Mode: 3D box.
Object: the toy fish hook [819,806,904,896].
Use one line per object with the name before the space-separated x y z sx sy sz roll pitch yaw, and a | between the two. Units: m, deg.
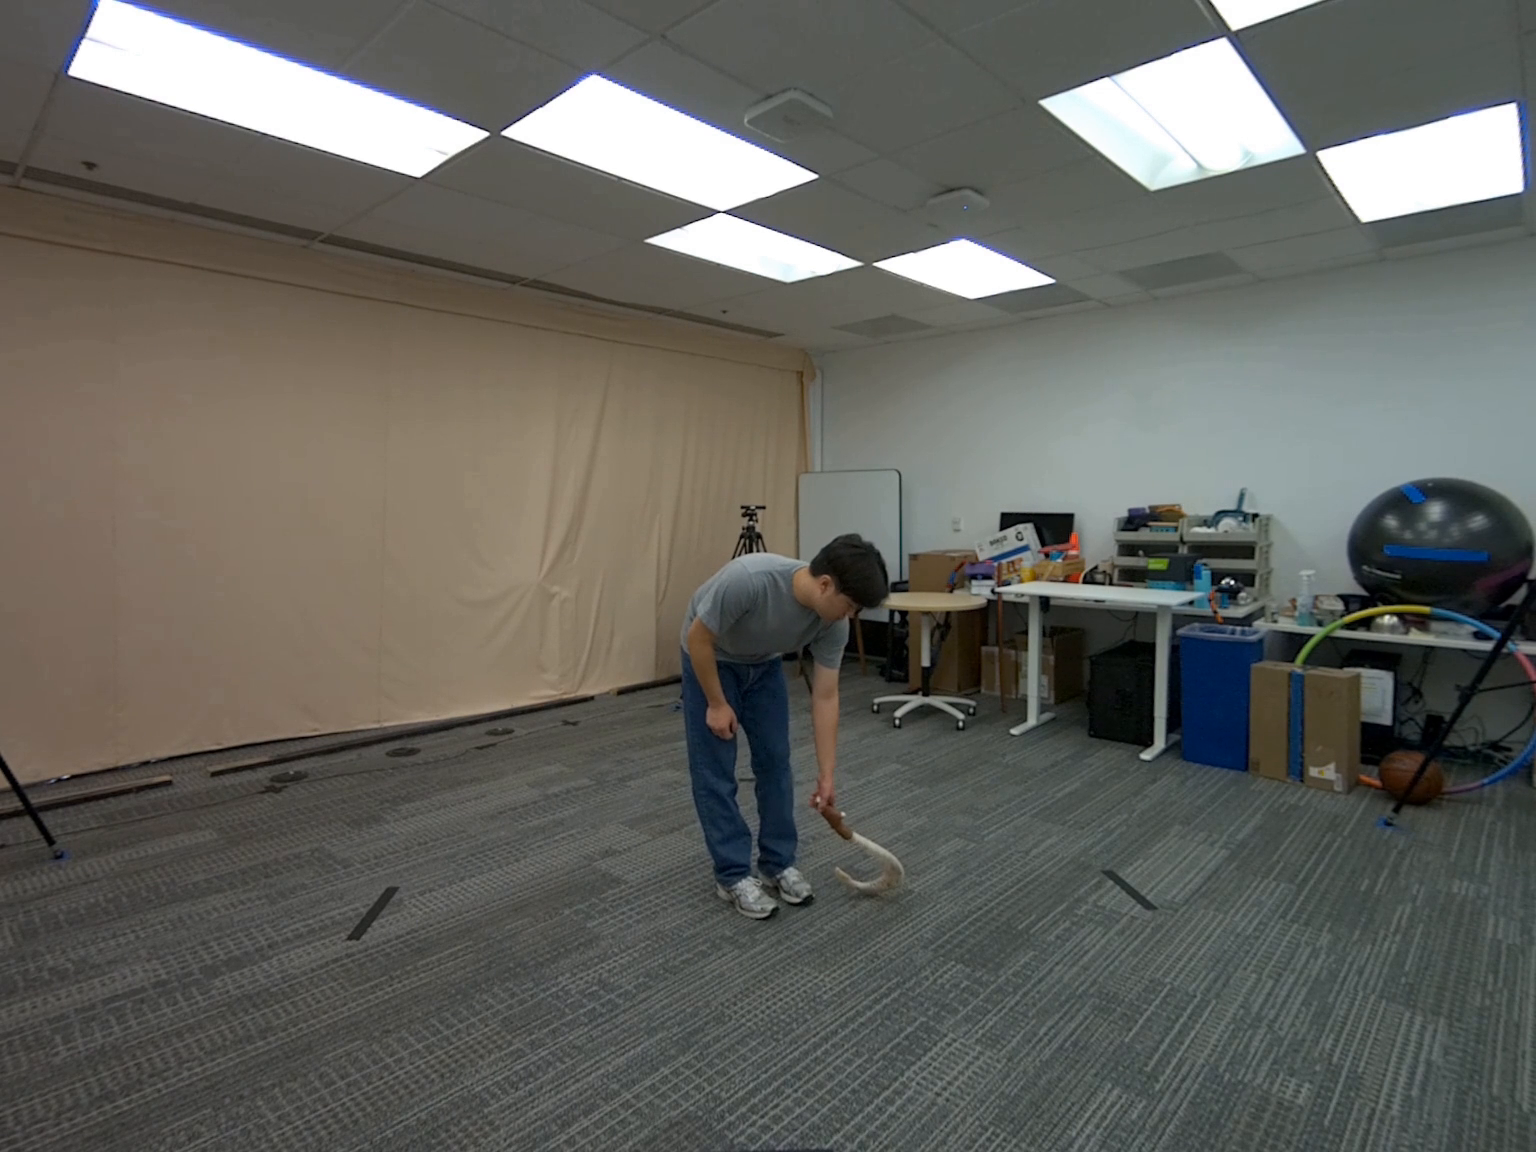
toy fish hook | 0.277 0.947 2.909 0.226 0.495 0.049 -35 21 14
